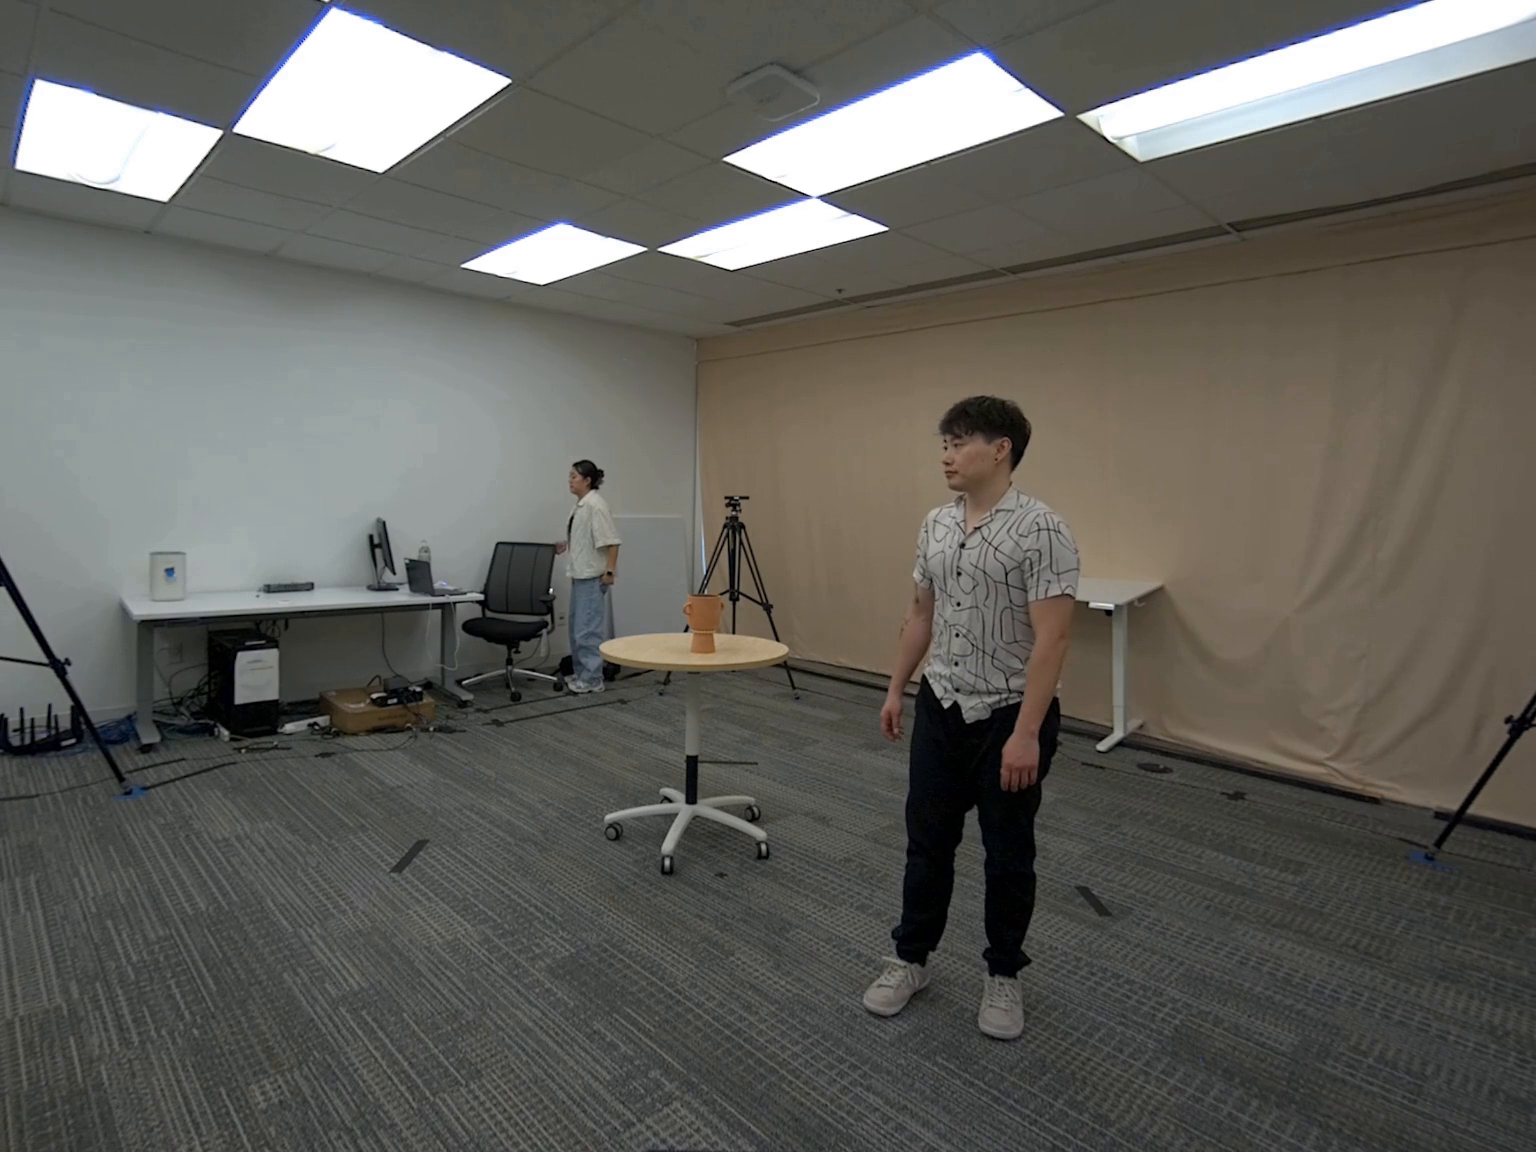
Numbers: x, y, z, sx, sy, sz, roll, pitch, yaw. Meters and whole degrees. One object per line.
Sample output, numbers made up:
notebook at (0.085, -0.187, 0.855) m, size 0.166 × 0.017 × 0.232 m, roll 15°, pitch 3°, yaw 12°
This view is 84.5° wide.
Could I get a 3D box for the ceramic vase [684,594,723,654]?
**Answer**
ceramic vase at (-0.262, 0.188, 3.310) m, size 0.159 × 0.219 × 0.135 m, roll 0°, pitch 4°, yaw -1°
